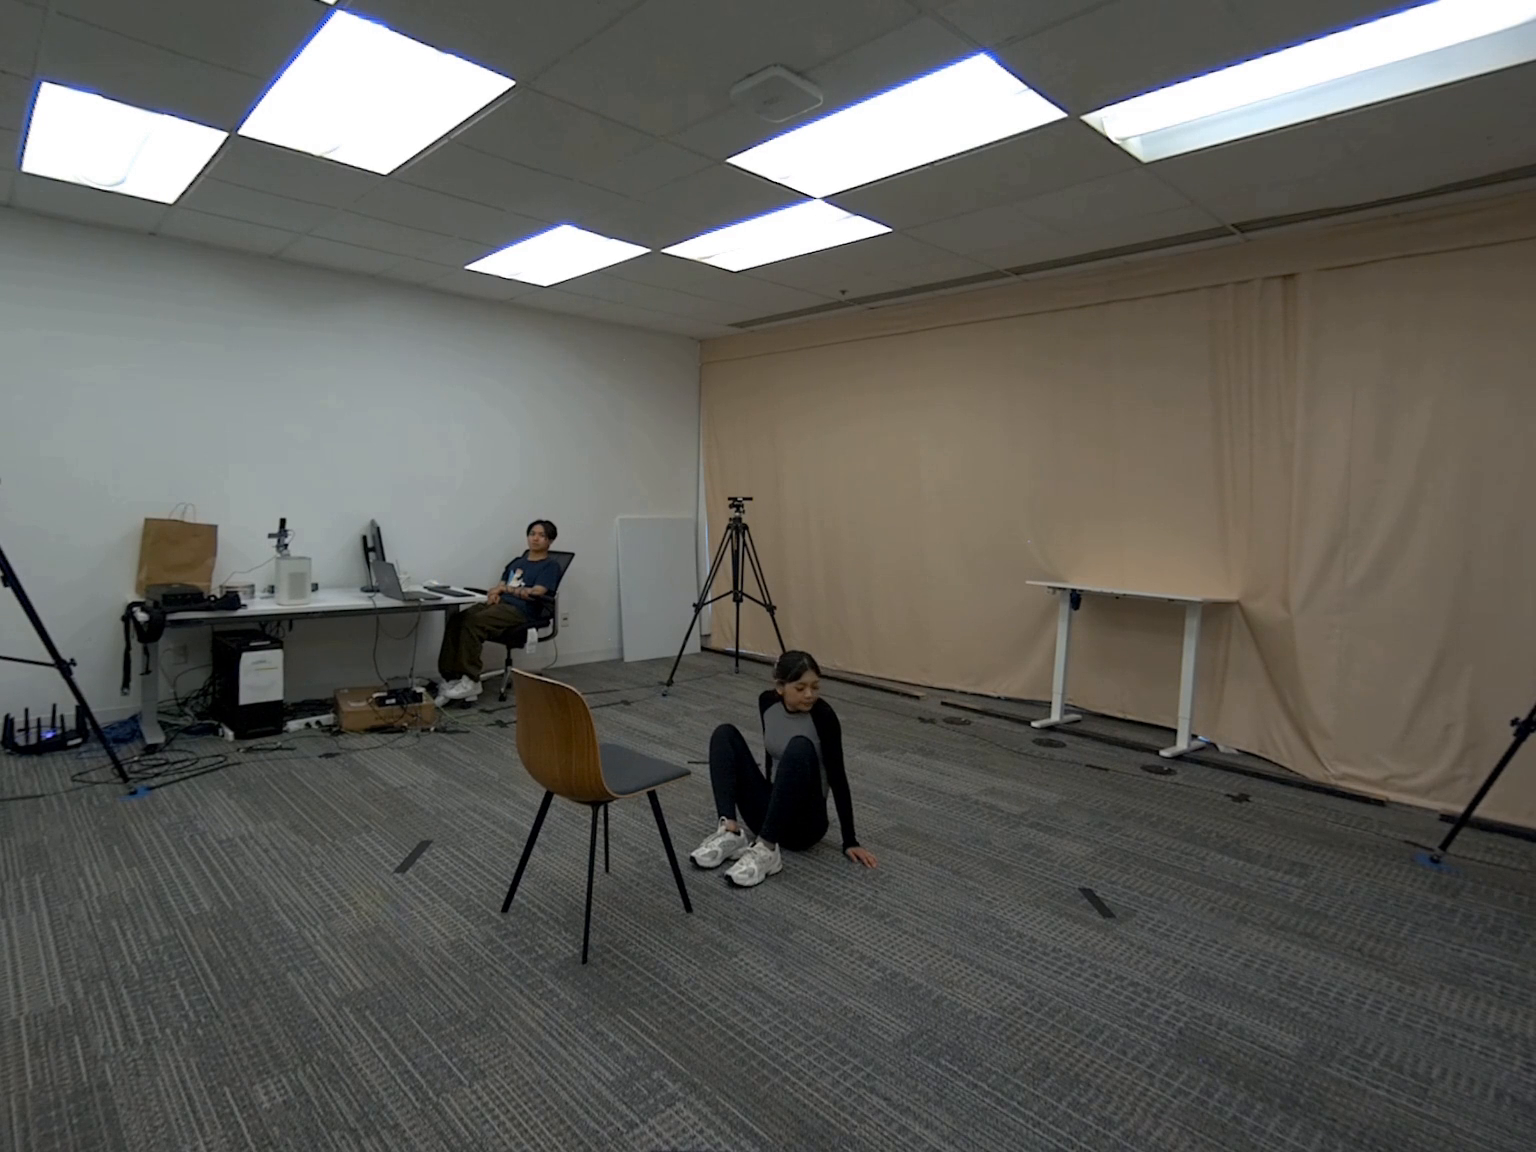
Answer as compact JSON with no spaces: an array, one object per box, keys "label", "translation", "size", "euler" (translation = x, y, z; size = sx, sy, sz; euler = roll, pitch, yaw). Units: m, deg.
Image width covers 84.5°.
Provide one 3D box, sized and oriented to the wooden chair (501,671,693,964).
[{"label":"wooden chair","translation":[-0.557,0.699,2.784],"size":[0.490,0.873,0.513],"euler":[4,9,41]}]
